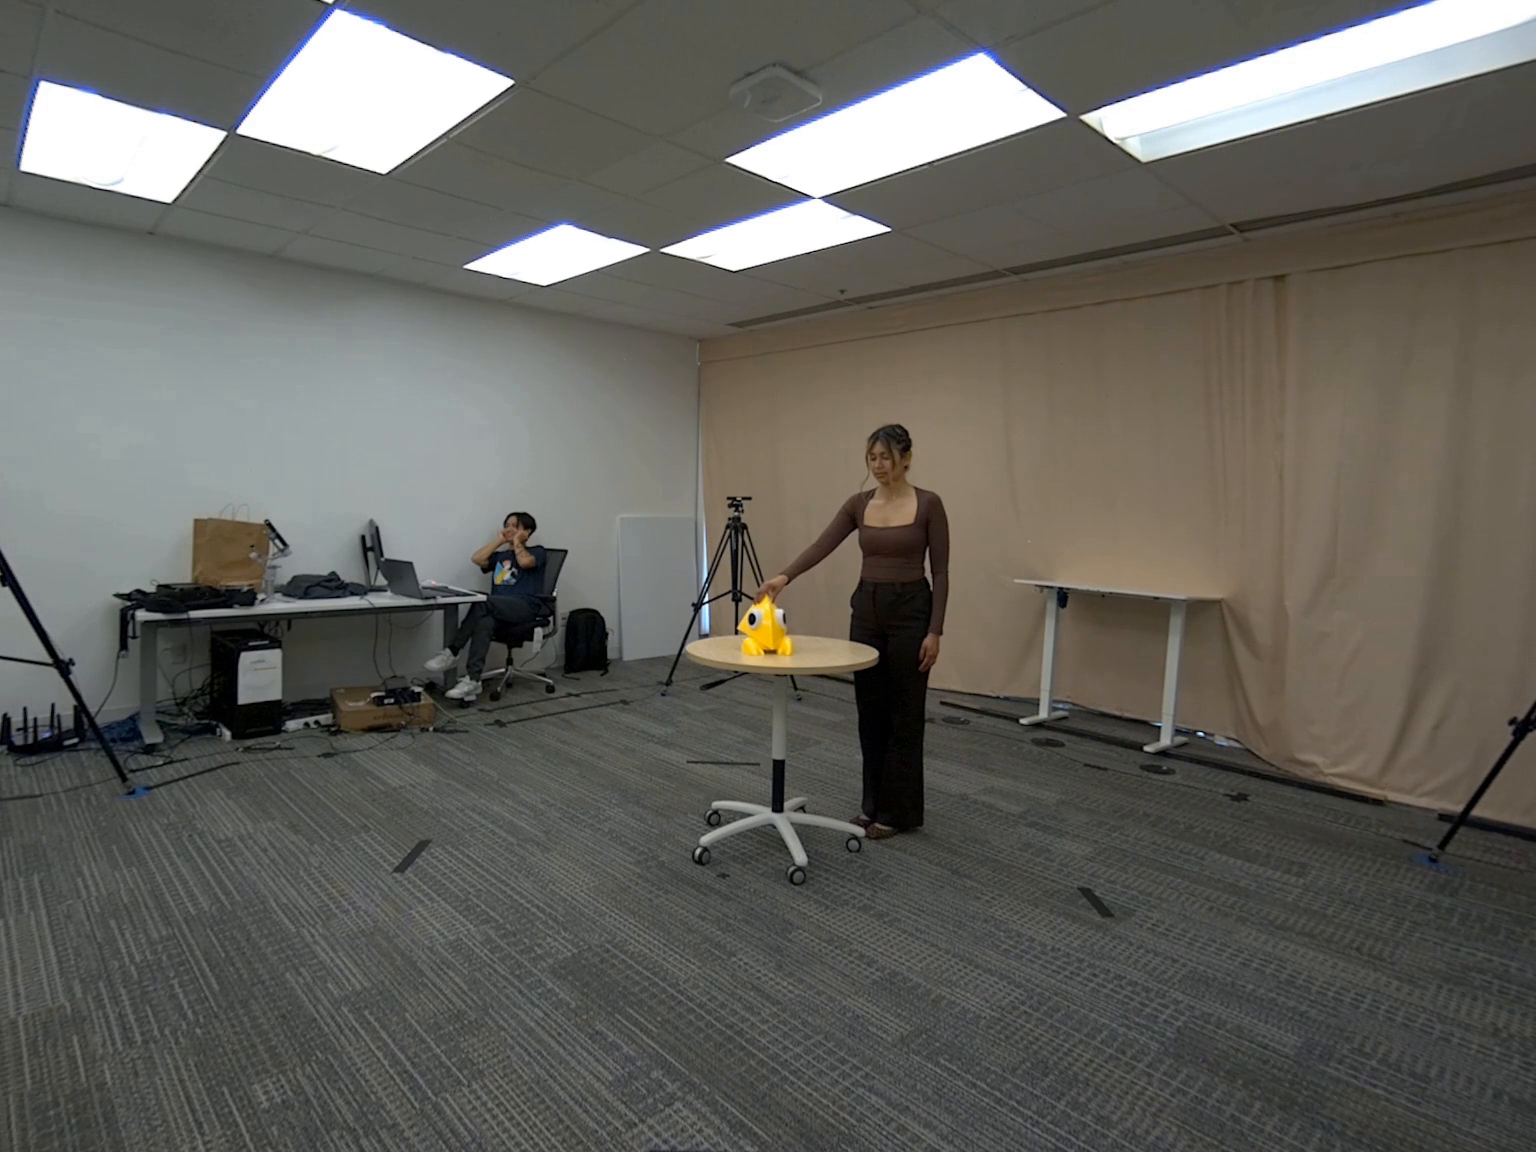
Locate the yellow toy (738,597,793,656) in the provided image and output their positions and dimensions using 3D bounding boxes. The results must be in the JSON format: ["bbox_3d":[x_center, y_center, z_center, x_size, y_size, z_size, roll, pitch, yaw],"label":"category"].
[{"bbox_3d":[-0.010,0.182,3.285,0.203,0.230,0.195,1,2,-11],"label":"yellow toy"}]
